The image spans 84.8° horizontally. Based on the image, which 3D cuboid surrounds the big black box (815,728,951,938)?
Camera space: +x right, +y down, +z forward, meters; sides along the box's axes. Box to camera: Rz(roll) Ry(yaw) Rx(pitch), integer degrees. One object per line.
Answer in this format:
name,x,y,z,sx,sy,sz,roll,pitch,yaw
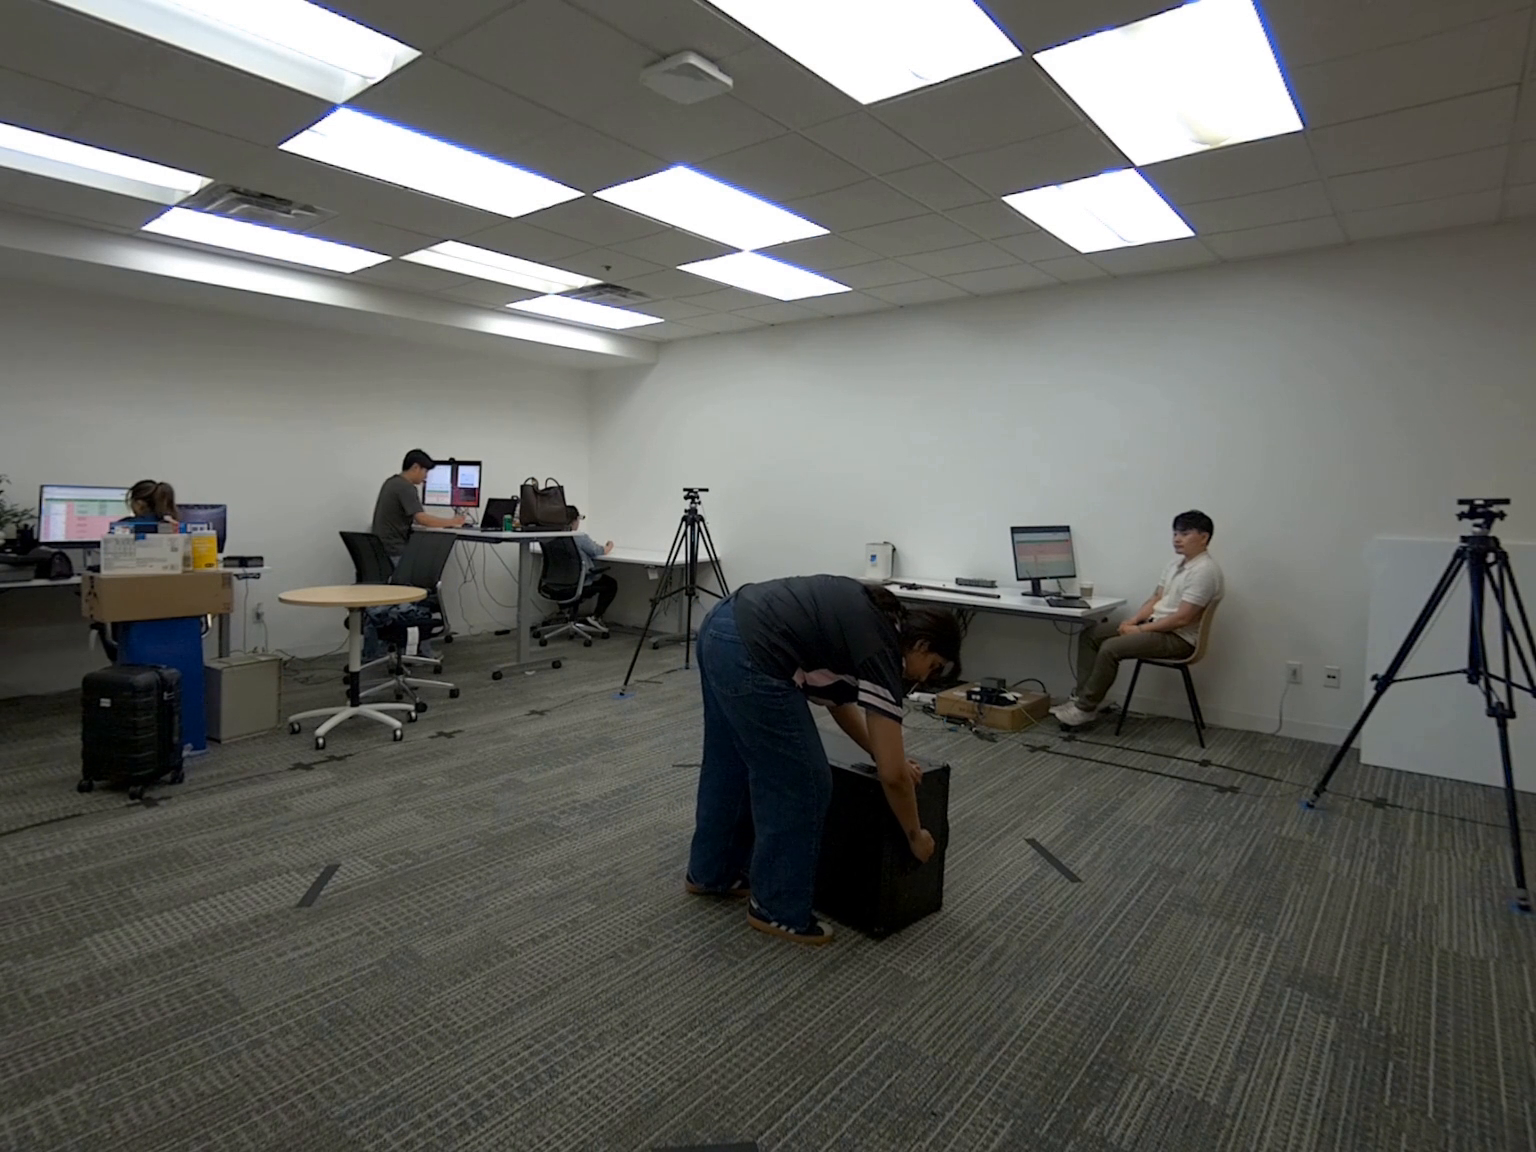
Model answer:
big black box,0.169,0.823,3.047,0.373,0.522,0.899,-2,6,-45
